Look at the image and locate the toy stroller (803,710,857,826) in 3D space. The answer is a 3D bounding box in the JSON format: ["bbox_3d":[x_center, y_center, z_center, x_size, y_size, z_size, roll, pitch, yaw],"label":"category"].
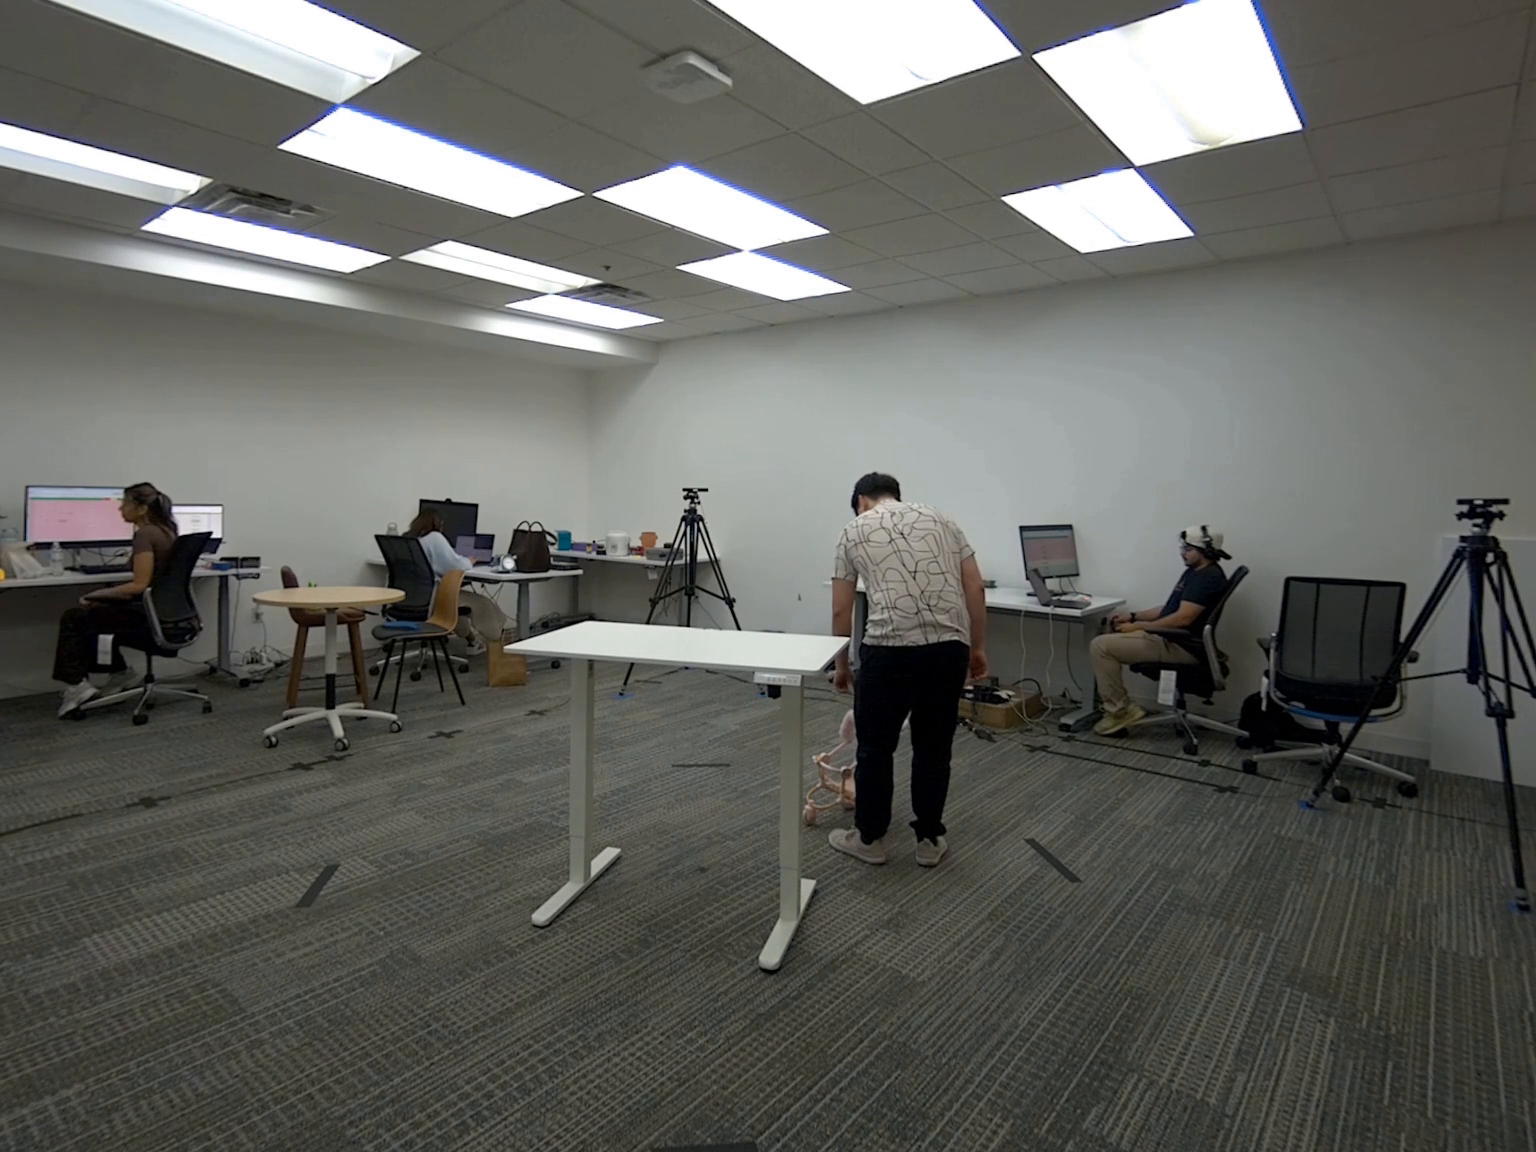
[{"bbox_3d":[0.339,0.807,3.608,0.334,0.535,0.287,16,-2,-17],"label":"toy stroller"}]
